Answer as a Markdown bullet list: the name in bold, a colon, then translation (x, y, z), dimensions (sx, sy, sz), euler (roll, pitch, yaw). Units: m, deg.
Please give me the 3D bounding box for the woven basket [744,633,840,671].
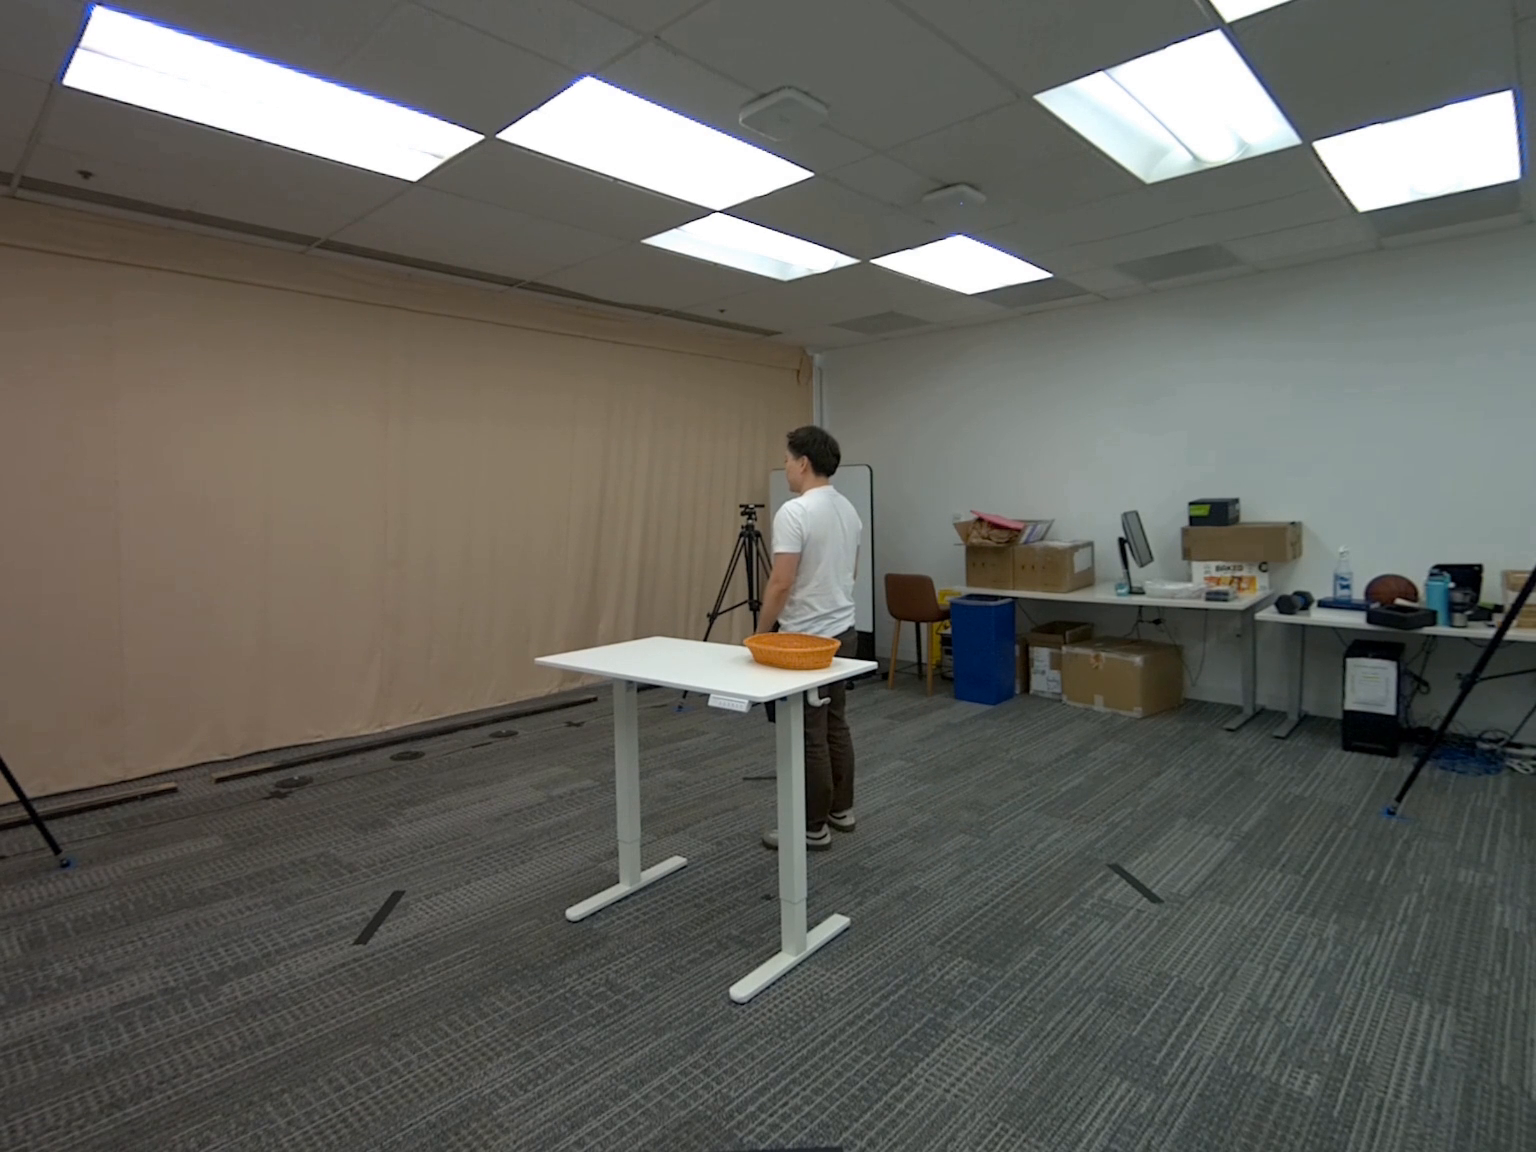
- **woven basket**: translation (0.060, 0.247, 2.702), dimensions (0.246, 0.073, 0.361), euler (-5, 6, -31)
